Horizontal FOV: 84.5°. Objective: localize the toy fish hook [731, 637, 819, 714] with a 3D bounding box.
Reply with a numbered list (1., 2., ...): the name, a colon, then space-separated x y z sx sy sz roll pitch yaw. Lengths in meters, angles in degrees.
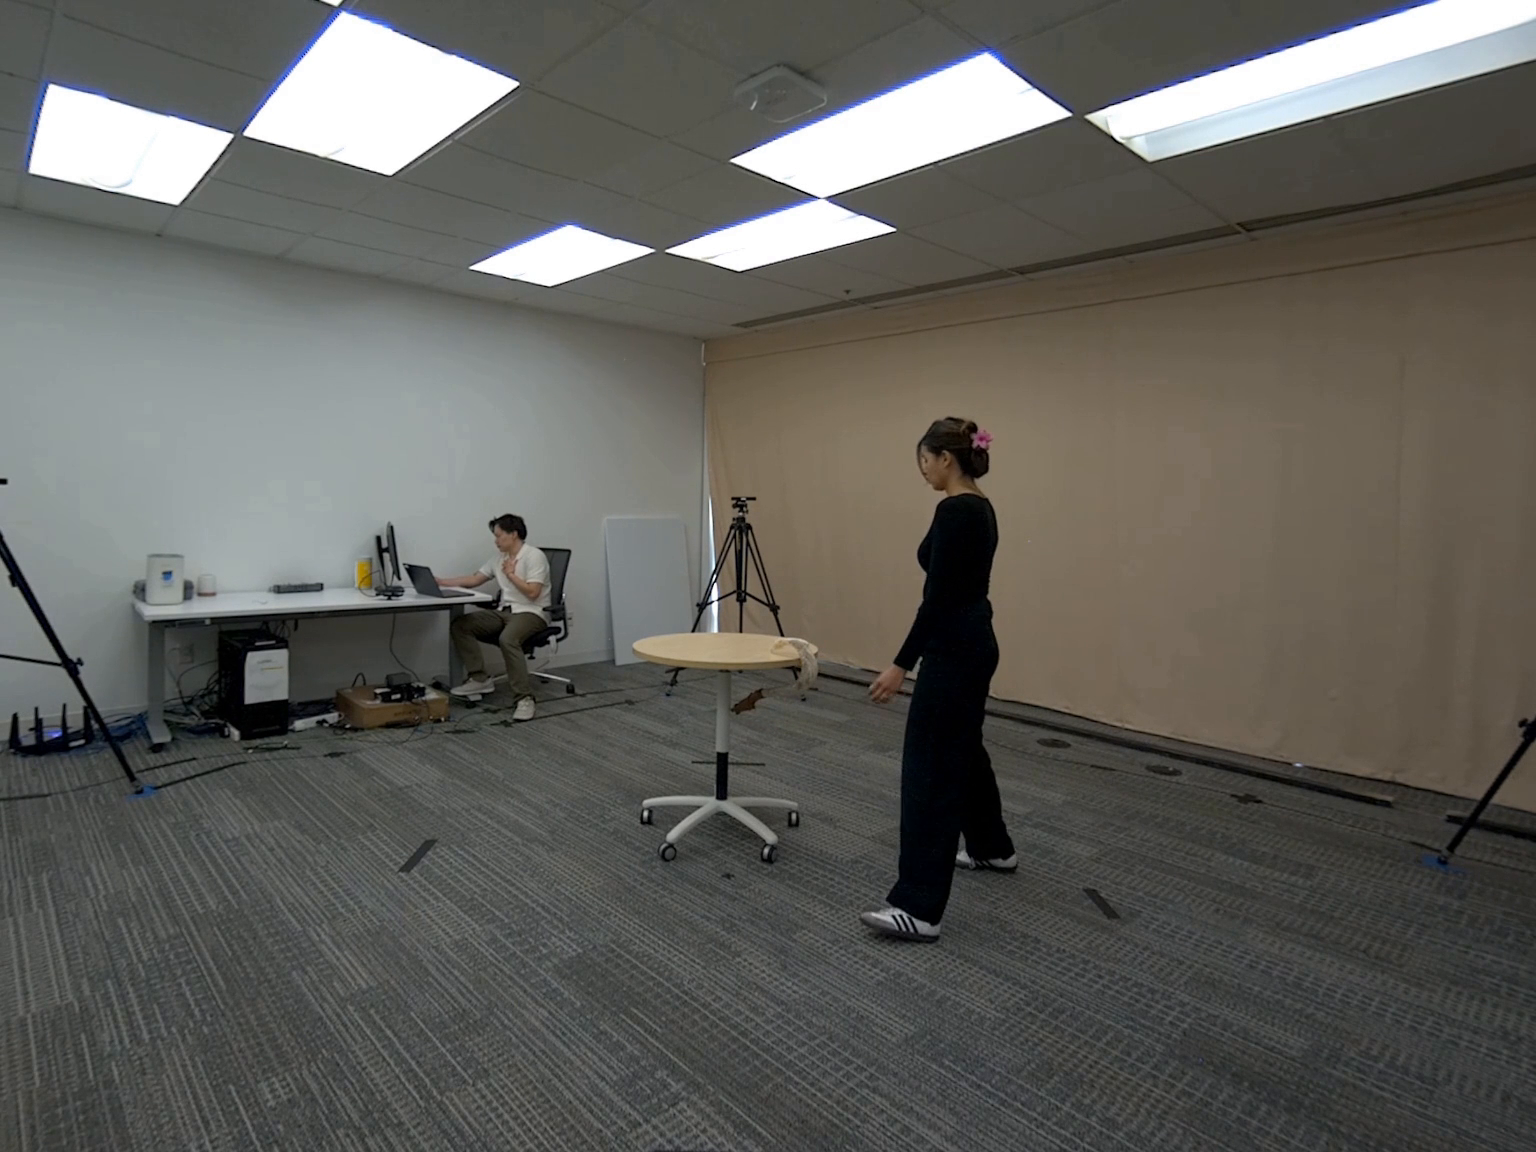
1. toy fish hook: 0.003 0.405 3.358 0.510 0.228 0.047 -31 -21 37
